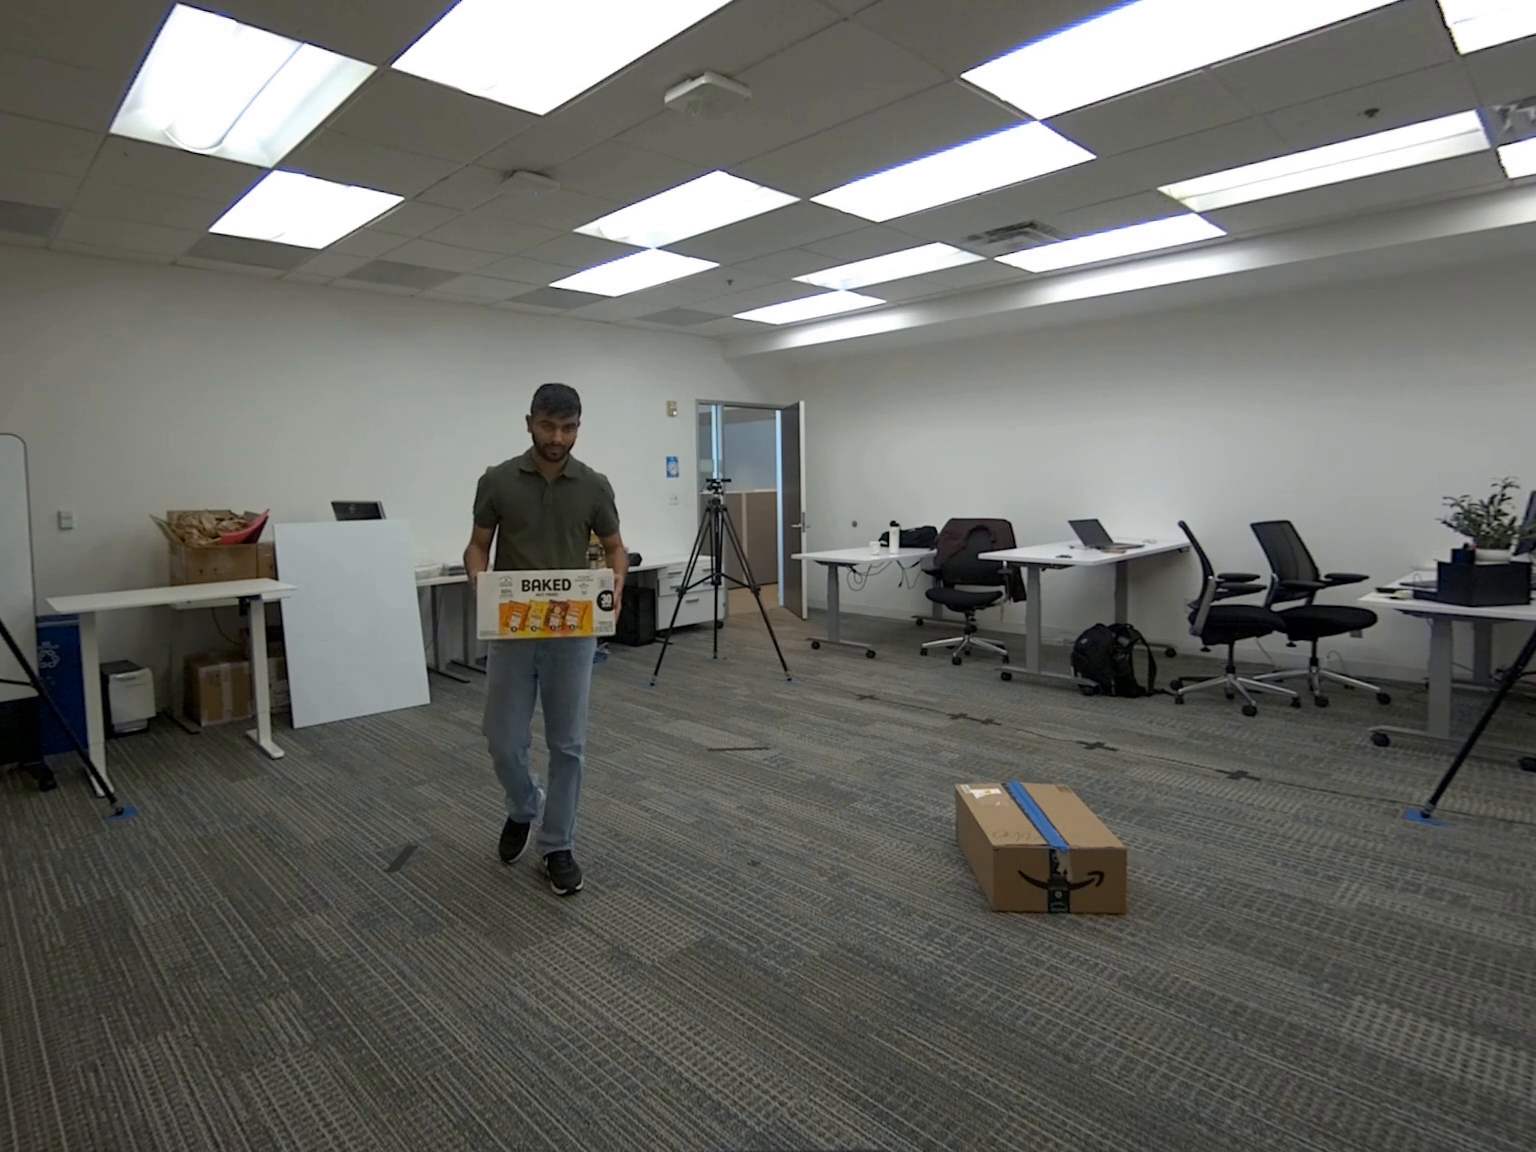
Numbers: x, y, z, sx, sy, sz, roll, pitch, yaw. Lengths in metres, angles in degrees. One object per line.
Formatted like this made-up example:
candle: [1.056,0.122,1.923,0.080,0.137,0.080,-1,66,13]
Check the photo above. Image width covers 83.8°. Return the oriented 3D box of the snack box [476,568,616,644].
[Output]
snack box: [-0.703,0.099,2.727,0.401,0.207,0.342,-2,-5,-12]
